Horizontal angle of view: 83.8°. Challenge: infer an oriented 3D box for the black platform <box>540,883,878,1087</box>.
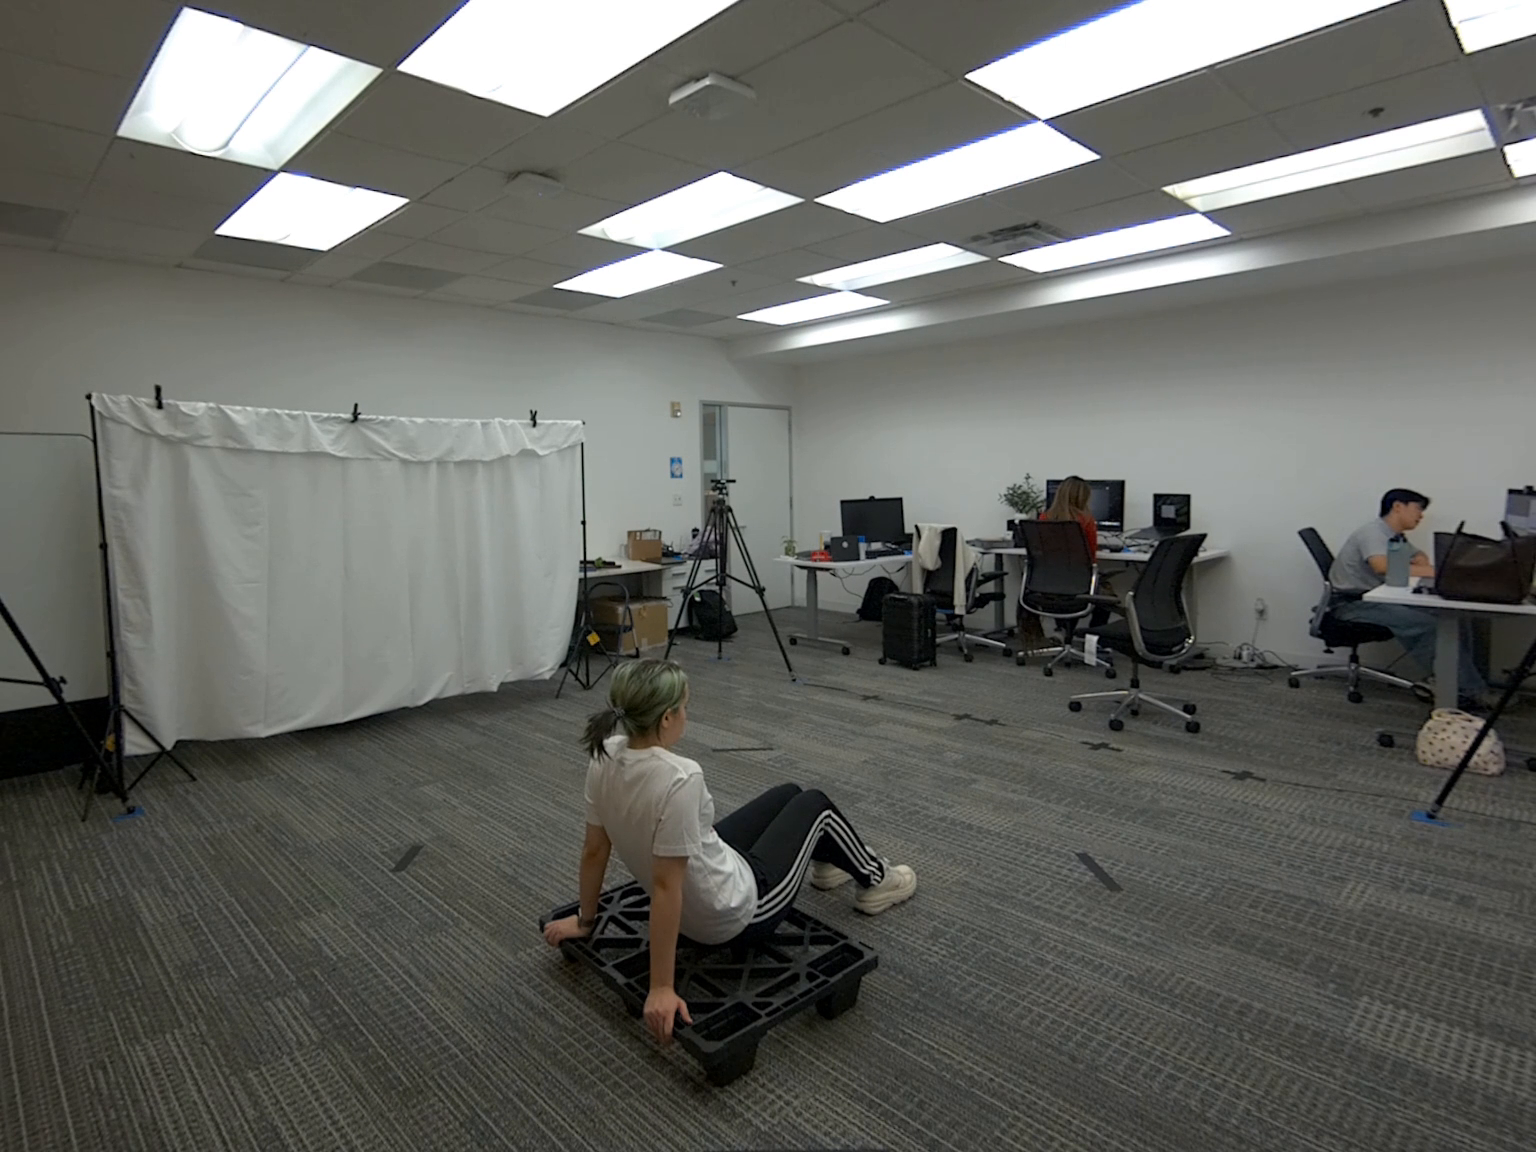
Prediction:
[{"bbox_3d":[-0.186,1.066,2.397,0.589,0.142,0.831,-6,9,-40],"label":"black platform"}]
